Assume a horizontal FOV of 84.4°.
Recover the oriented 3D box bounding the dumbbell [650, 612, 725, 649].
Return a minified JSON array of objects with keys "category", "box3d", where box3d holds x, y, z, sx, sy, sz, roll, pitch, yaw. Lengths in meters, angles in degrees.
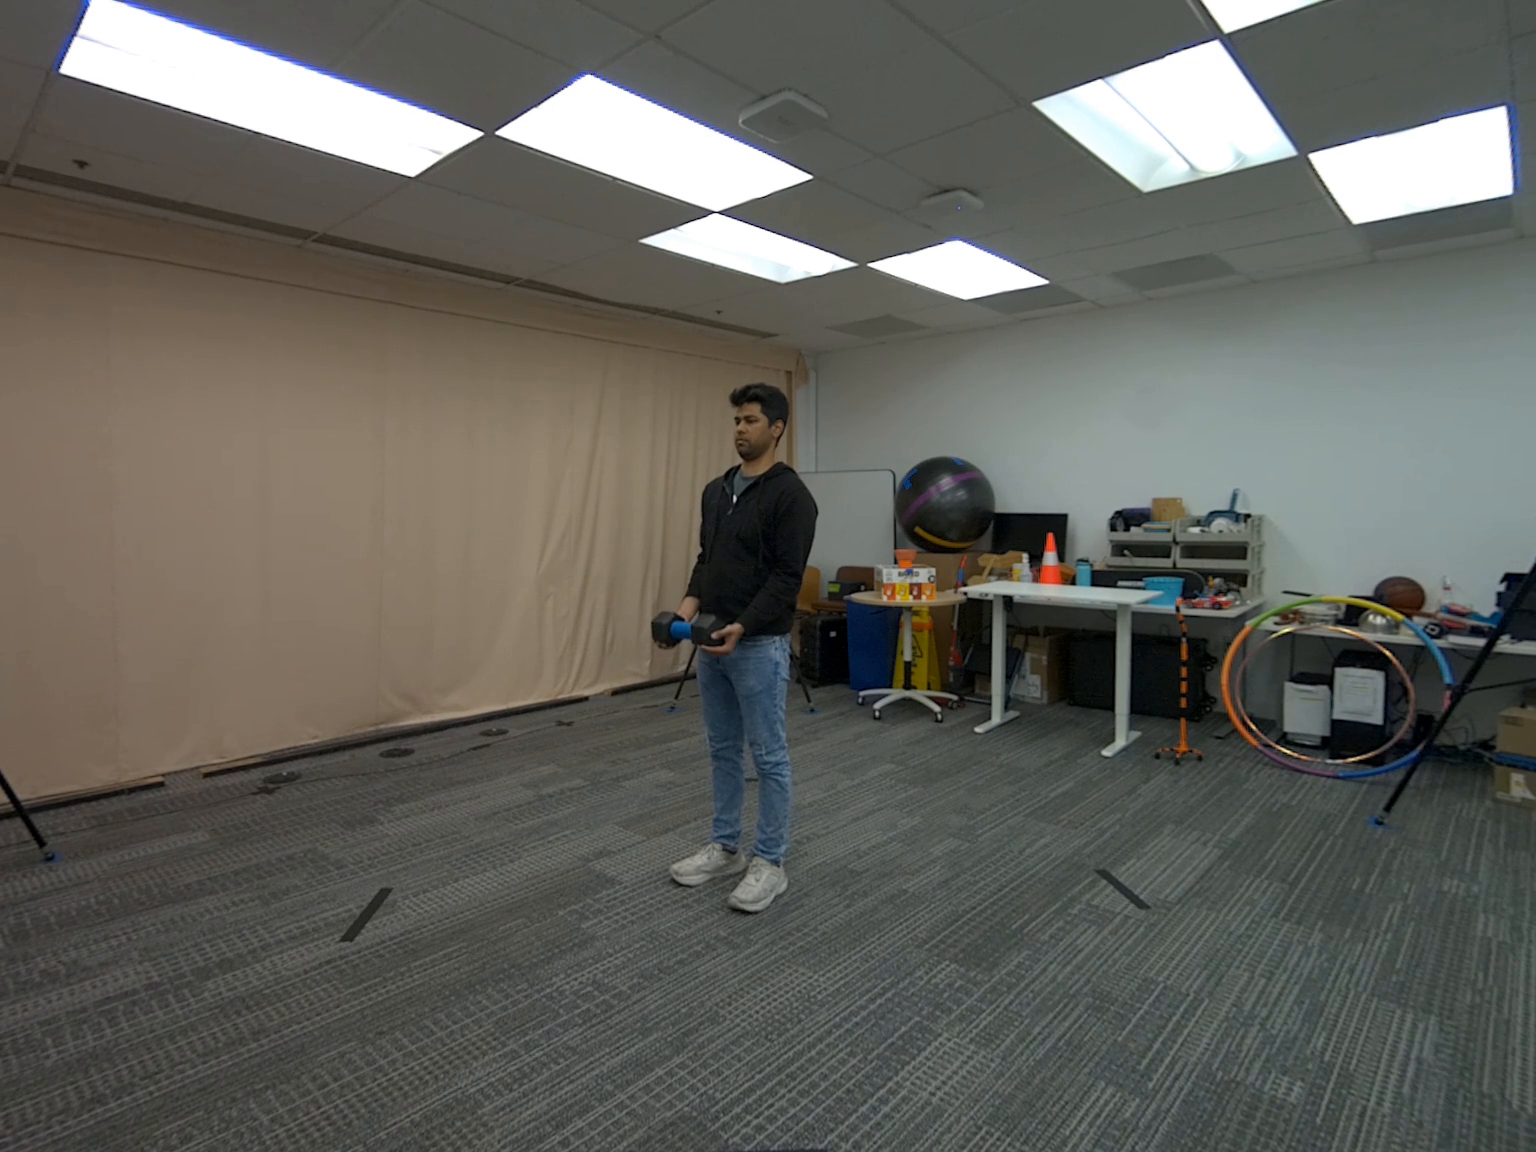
[{"category":"dumbbell","box3d":[-0.268,0.172,2.877,0.105,0.123,0.303,-4,4,-44]}]
